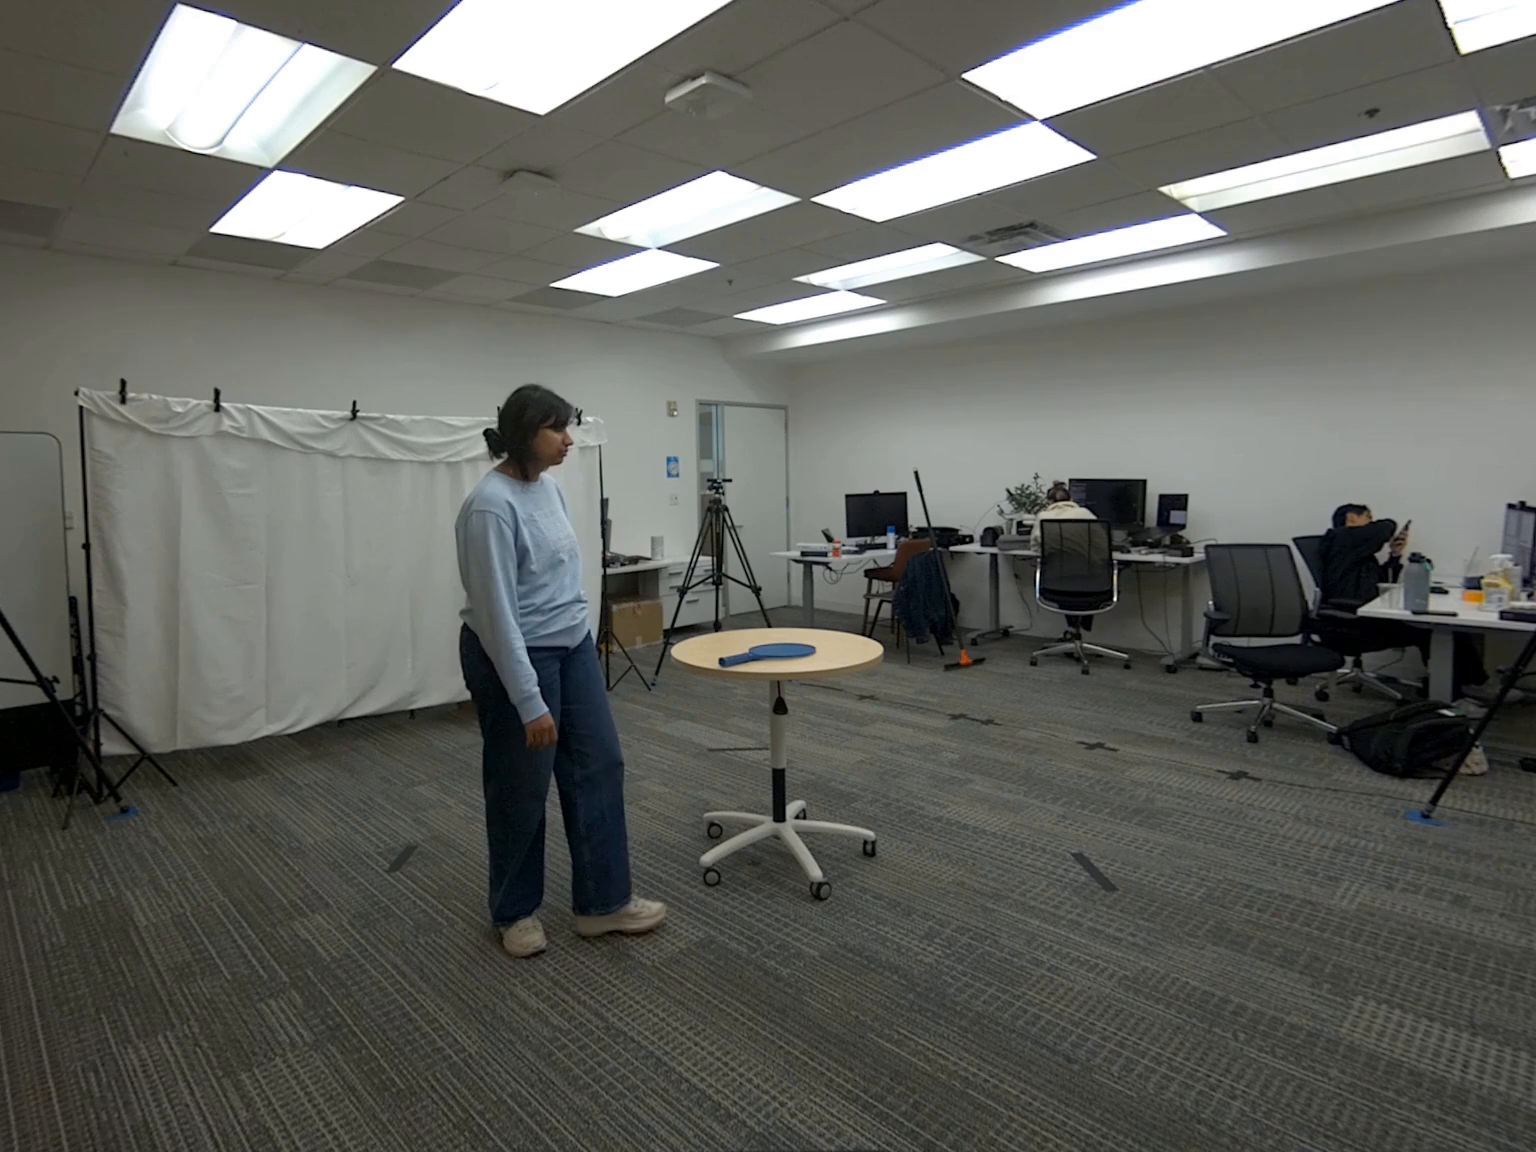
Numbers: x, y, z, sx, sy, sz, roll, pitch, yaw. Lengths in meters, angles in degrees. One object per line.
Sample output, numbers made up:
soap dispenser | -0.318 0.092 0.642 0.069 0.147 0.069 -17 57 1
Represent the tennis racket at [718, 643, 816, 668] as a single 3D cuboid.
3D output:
tennis racket | -0.003 0.270 2.957 0.220 0.031 0.421 4 7 45
